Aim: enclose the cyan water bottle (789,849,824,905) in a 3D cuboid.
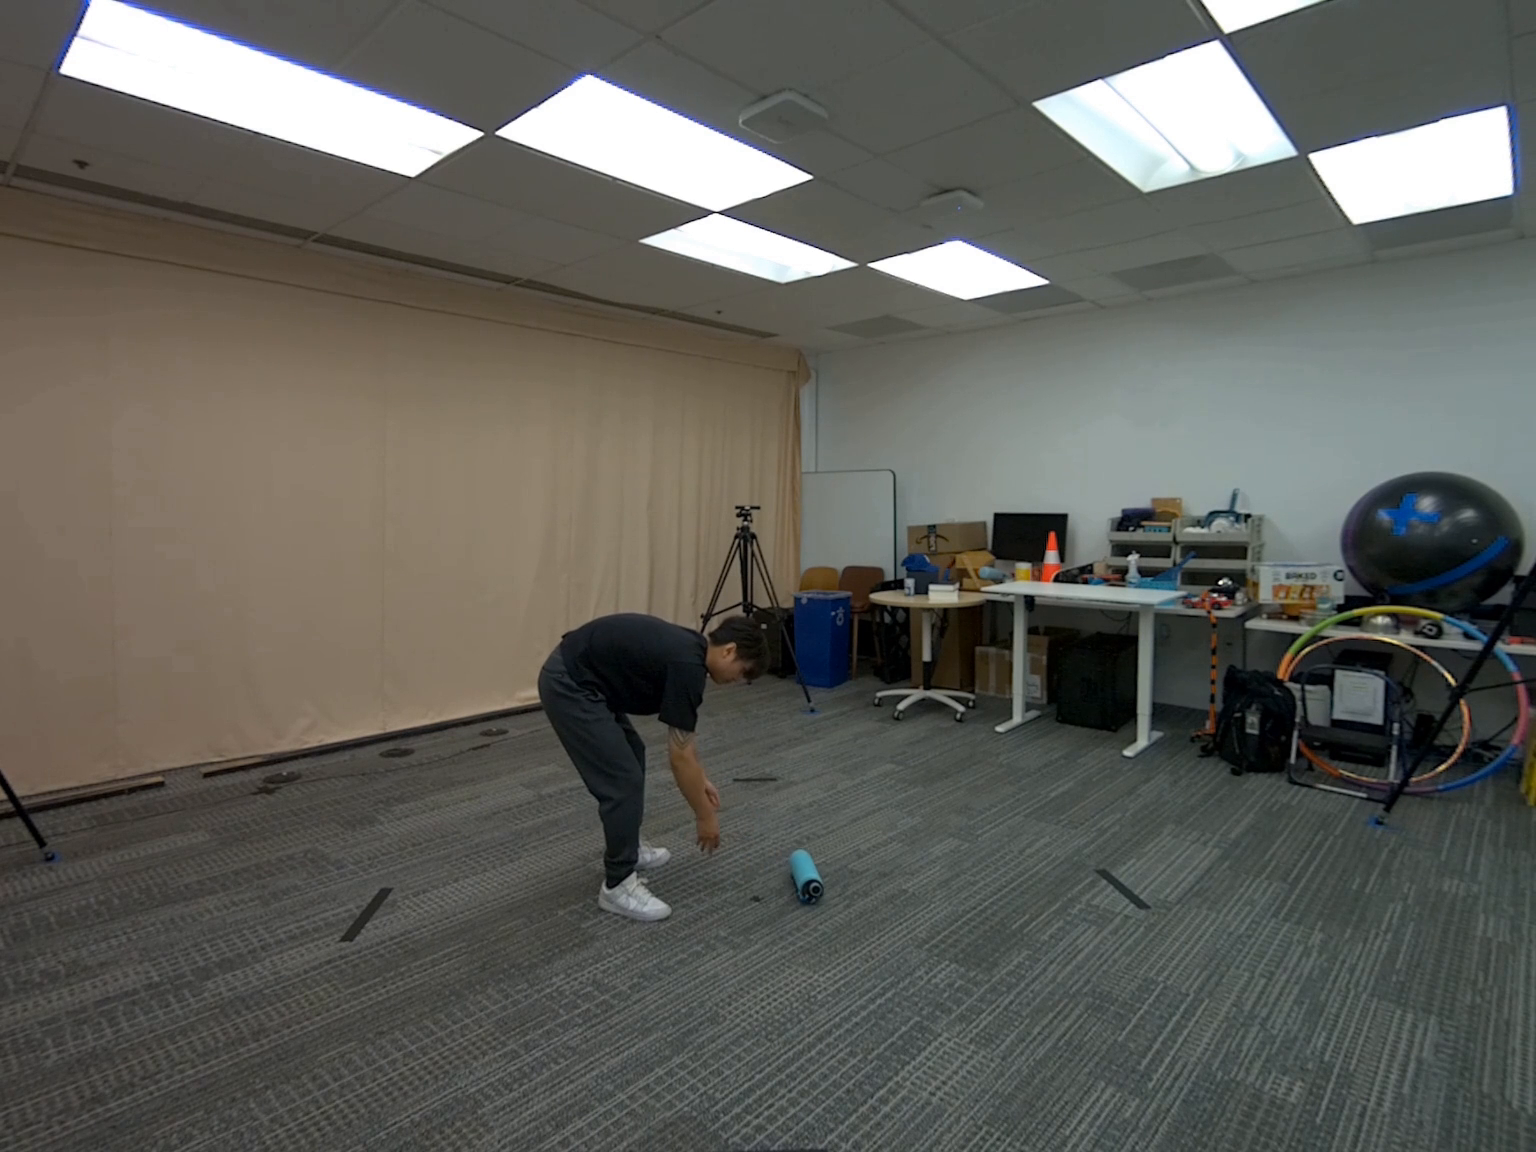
[{"bbox_3d":[0.140,1.091,3.050,0.092,0.092,0.286,0,6,-7],"label":"cyan water bottle"}]
